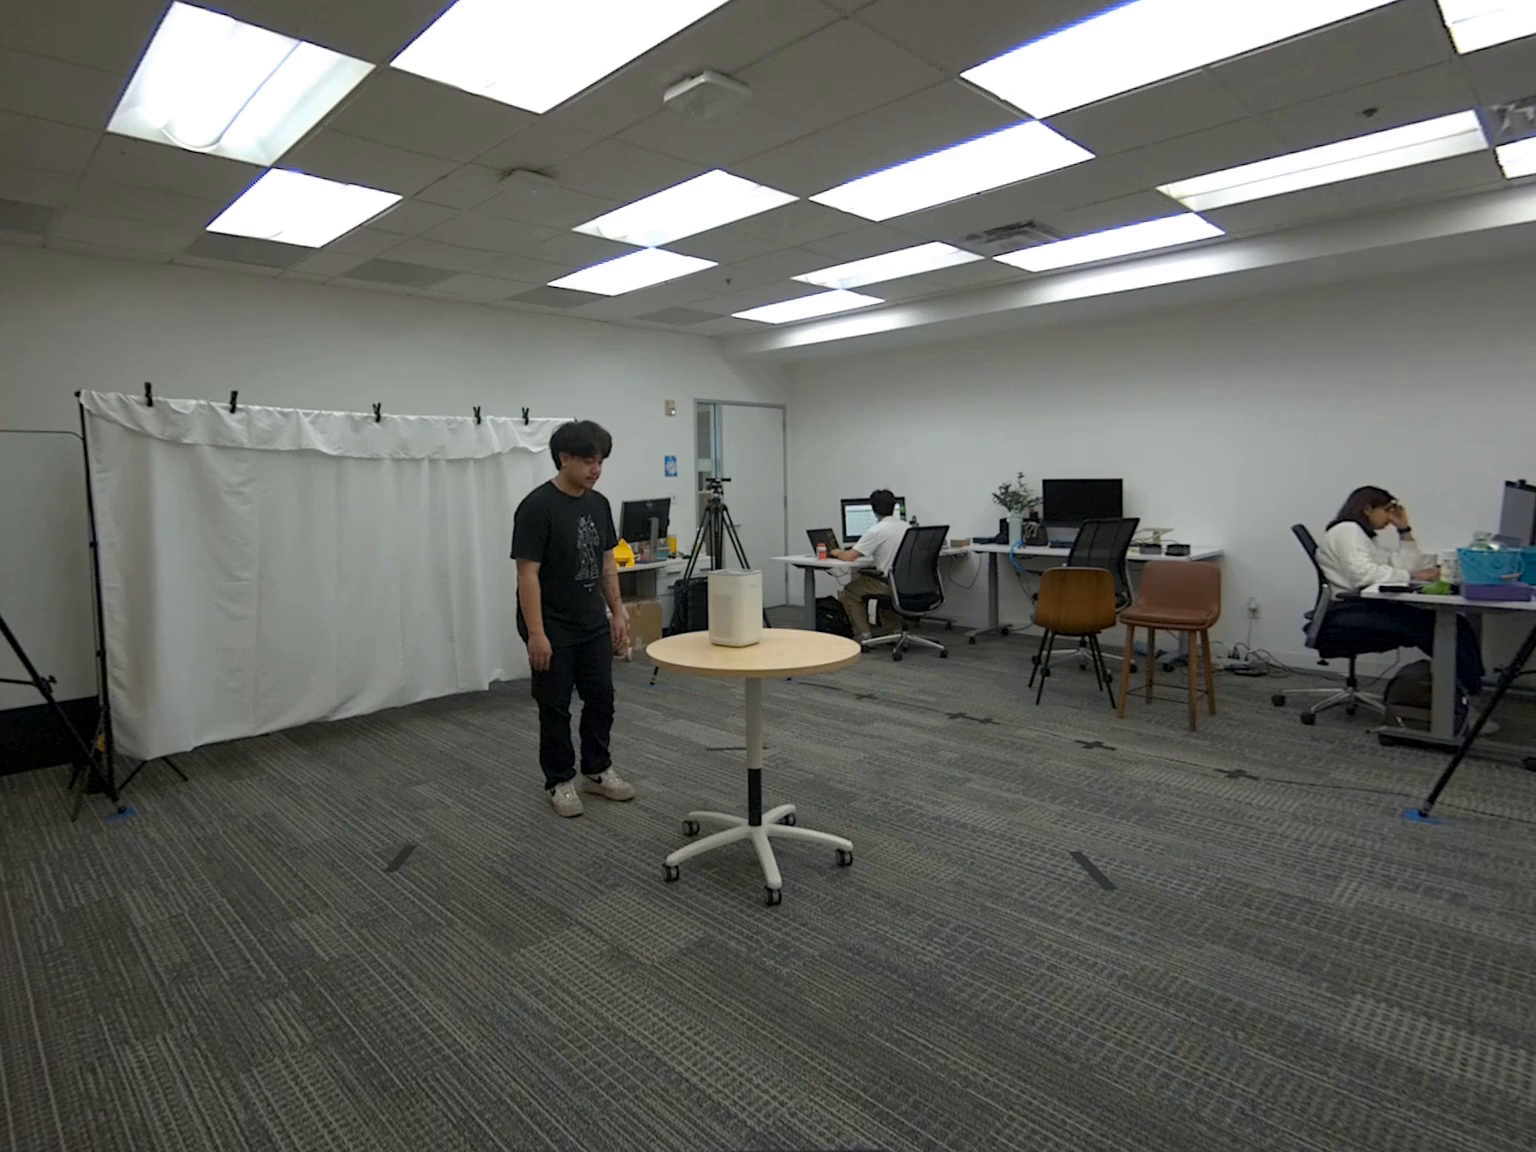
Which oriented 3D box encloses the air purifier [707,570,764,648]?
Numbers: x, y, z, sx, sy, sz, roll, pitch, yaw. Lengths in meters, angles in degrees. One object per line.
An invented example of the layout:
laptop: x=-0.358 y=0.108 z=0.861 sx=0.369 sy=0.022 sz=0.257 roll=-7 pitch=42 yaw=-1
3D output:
air purifier: x=-0.118 y=0.112 z=3.125 sx=0.176 sy=0.264 sz=0.167 roll=2 pitch=5 yaw=33
